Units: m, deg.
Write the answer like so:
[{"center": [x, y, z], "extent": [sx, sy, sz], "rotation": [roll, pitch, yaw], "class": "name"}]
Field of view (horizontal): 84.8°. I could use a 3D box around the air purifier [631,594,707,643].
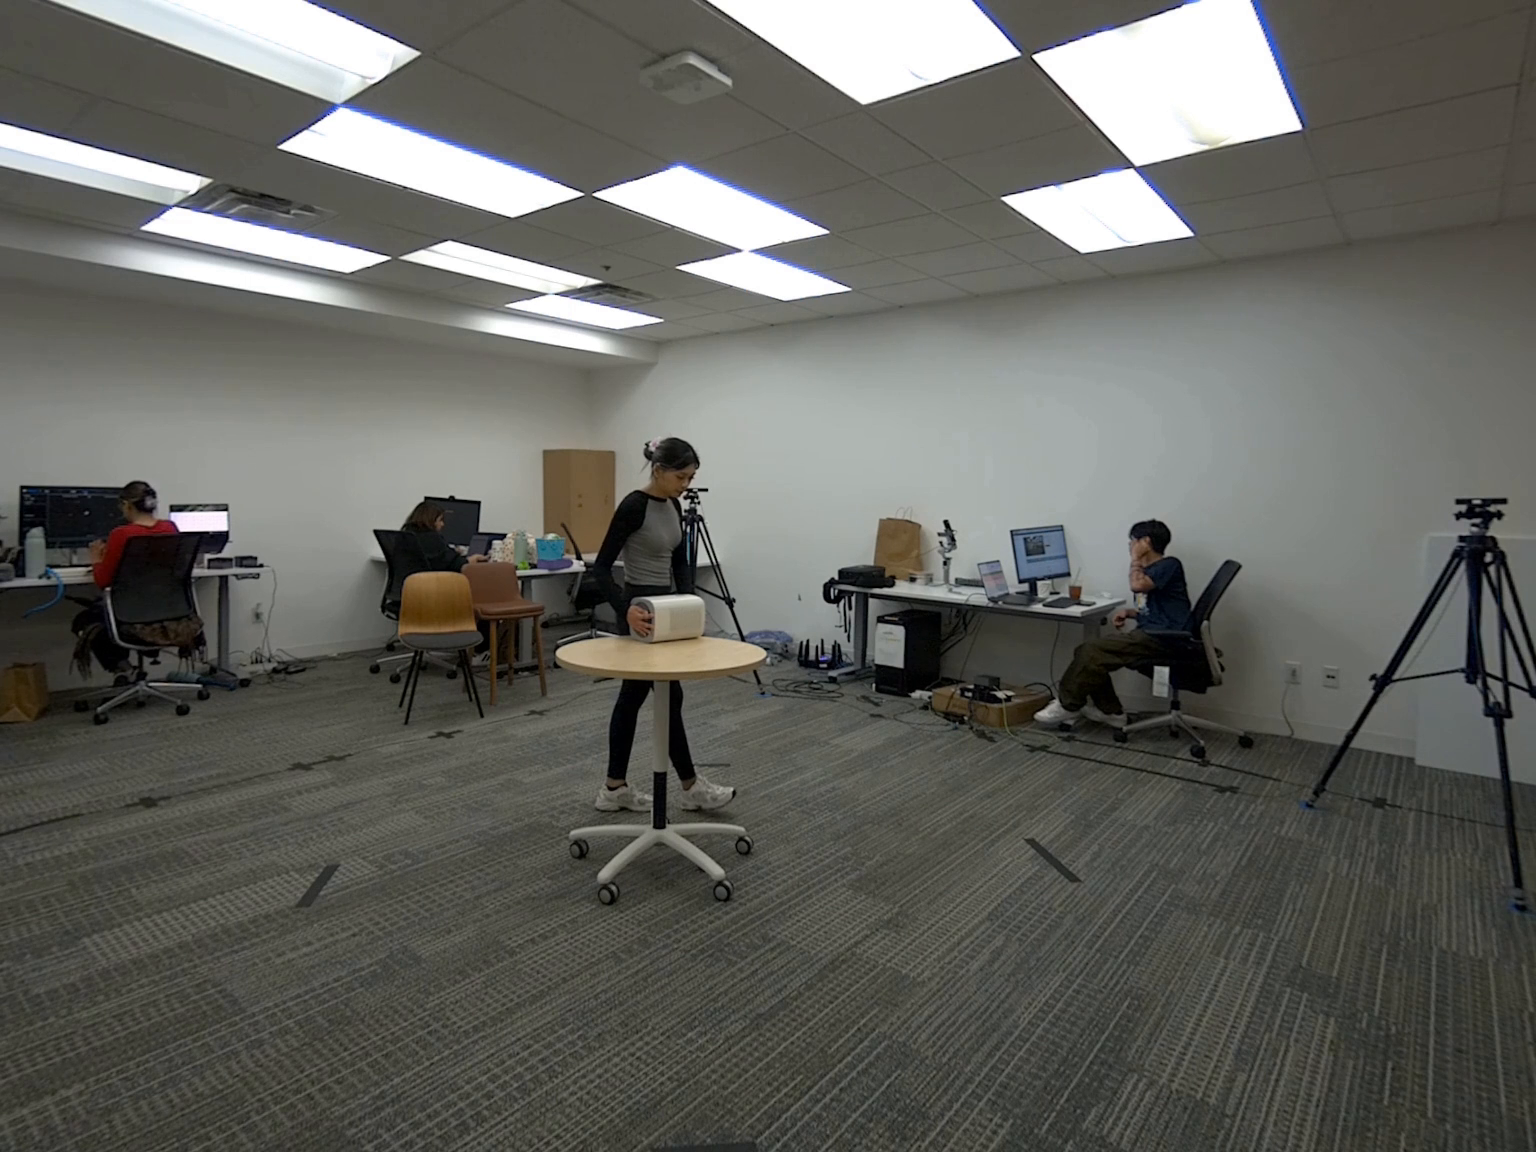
[{"center": [-0.399, 0.163, 3.394], "extent": [0.257, 0.171, 0.177], "rotation": [-3, 5, -41], "class": "air purifier"}]
